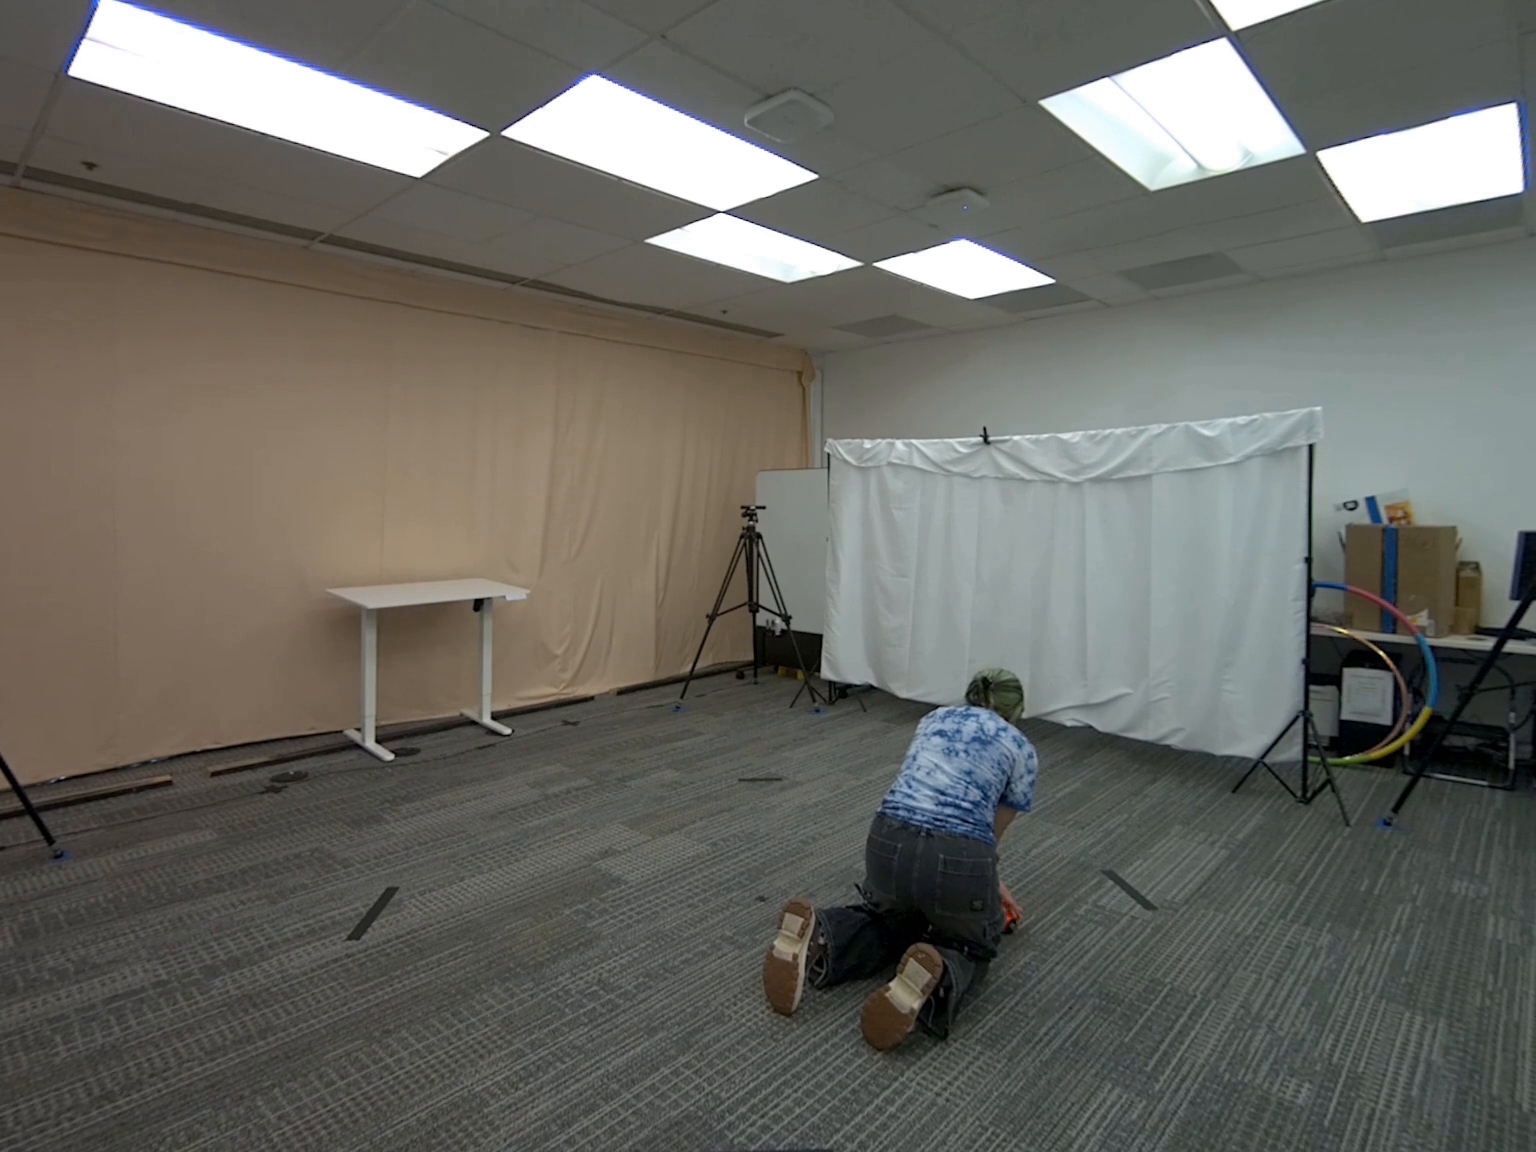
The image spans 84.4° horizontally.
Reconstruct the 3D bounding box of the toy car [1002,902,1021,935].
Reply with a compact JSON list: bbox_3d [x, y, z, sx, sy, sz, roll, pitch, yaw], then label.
[{"bbox_3d":[0.740,1.135,2.748,0.249,0.082,0.134,-18,16,-33],"label":"toy car"}]
